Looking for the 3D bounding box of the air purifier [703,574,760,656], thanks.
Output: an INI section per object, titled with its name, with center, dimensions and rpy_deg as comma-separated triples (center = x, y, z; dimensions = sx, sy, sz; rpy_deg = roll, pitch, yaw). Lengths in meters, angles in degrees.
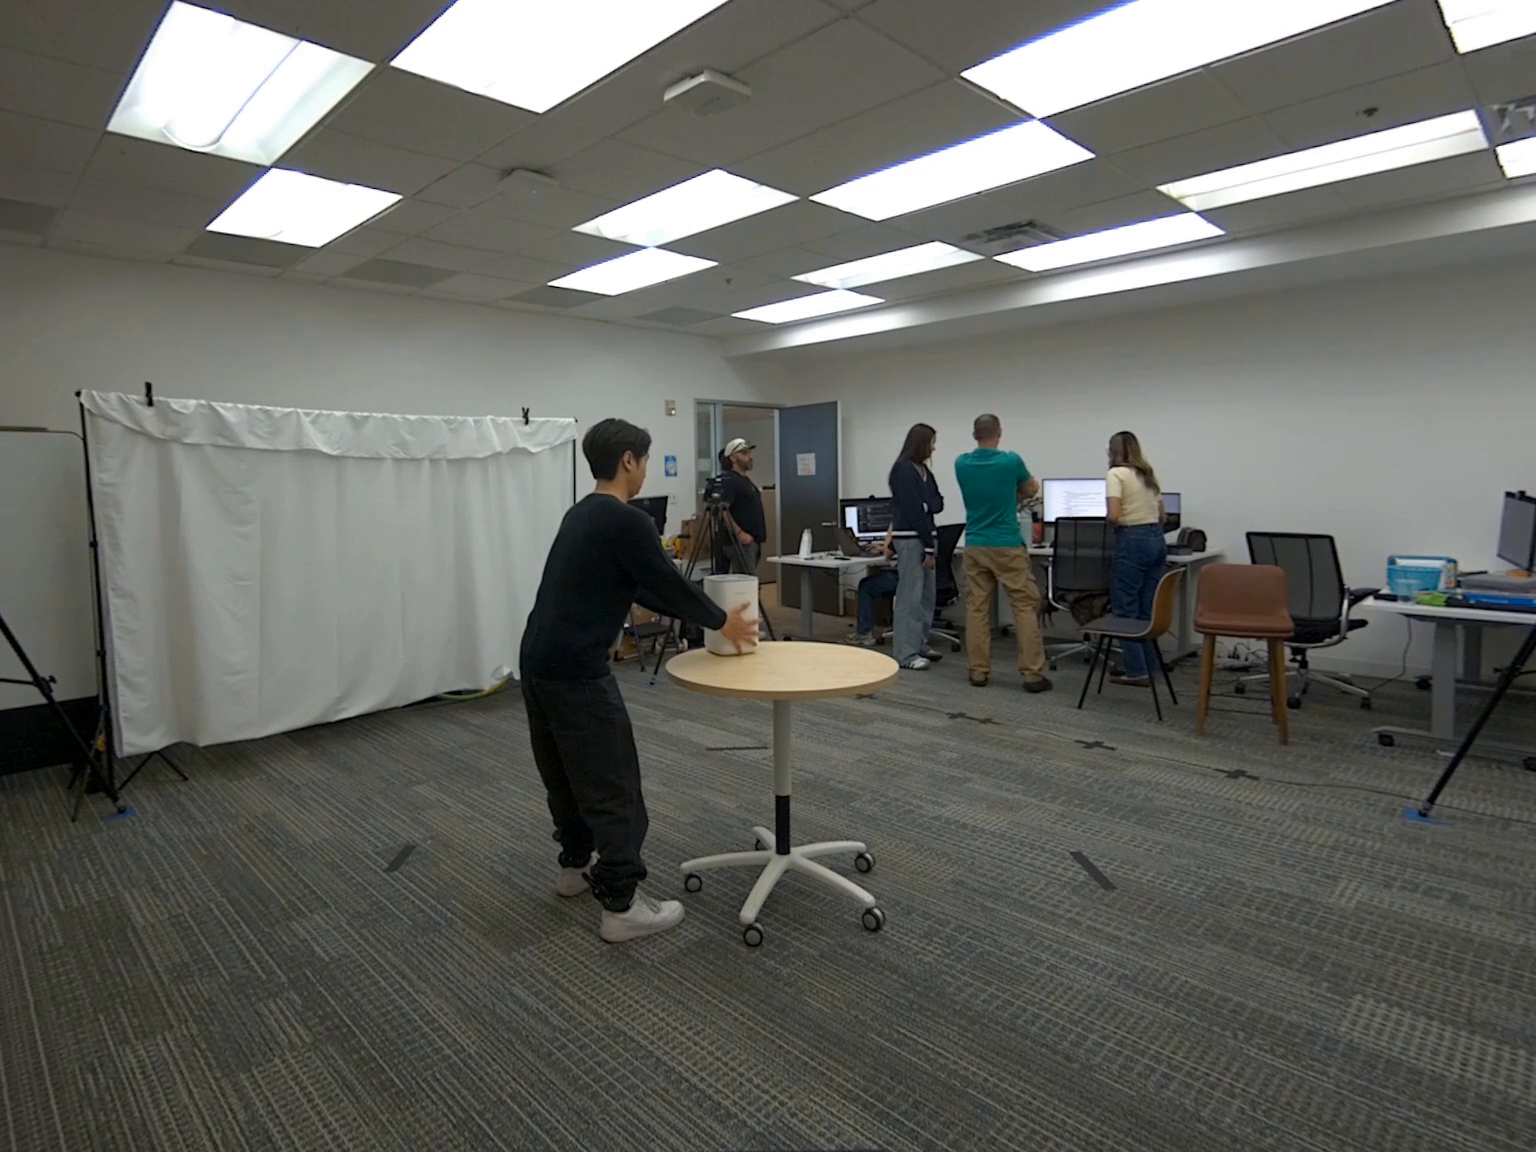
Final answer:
[air purifier]
center = -0.129, 0.137, 3.021
dimensions = 0.167, 0.264, 0.176
rpy_deg = -3, 4, -25
